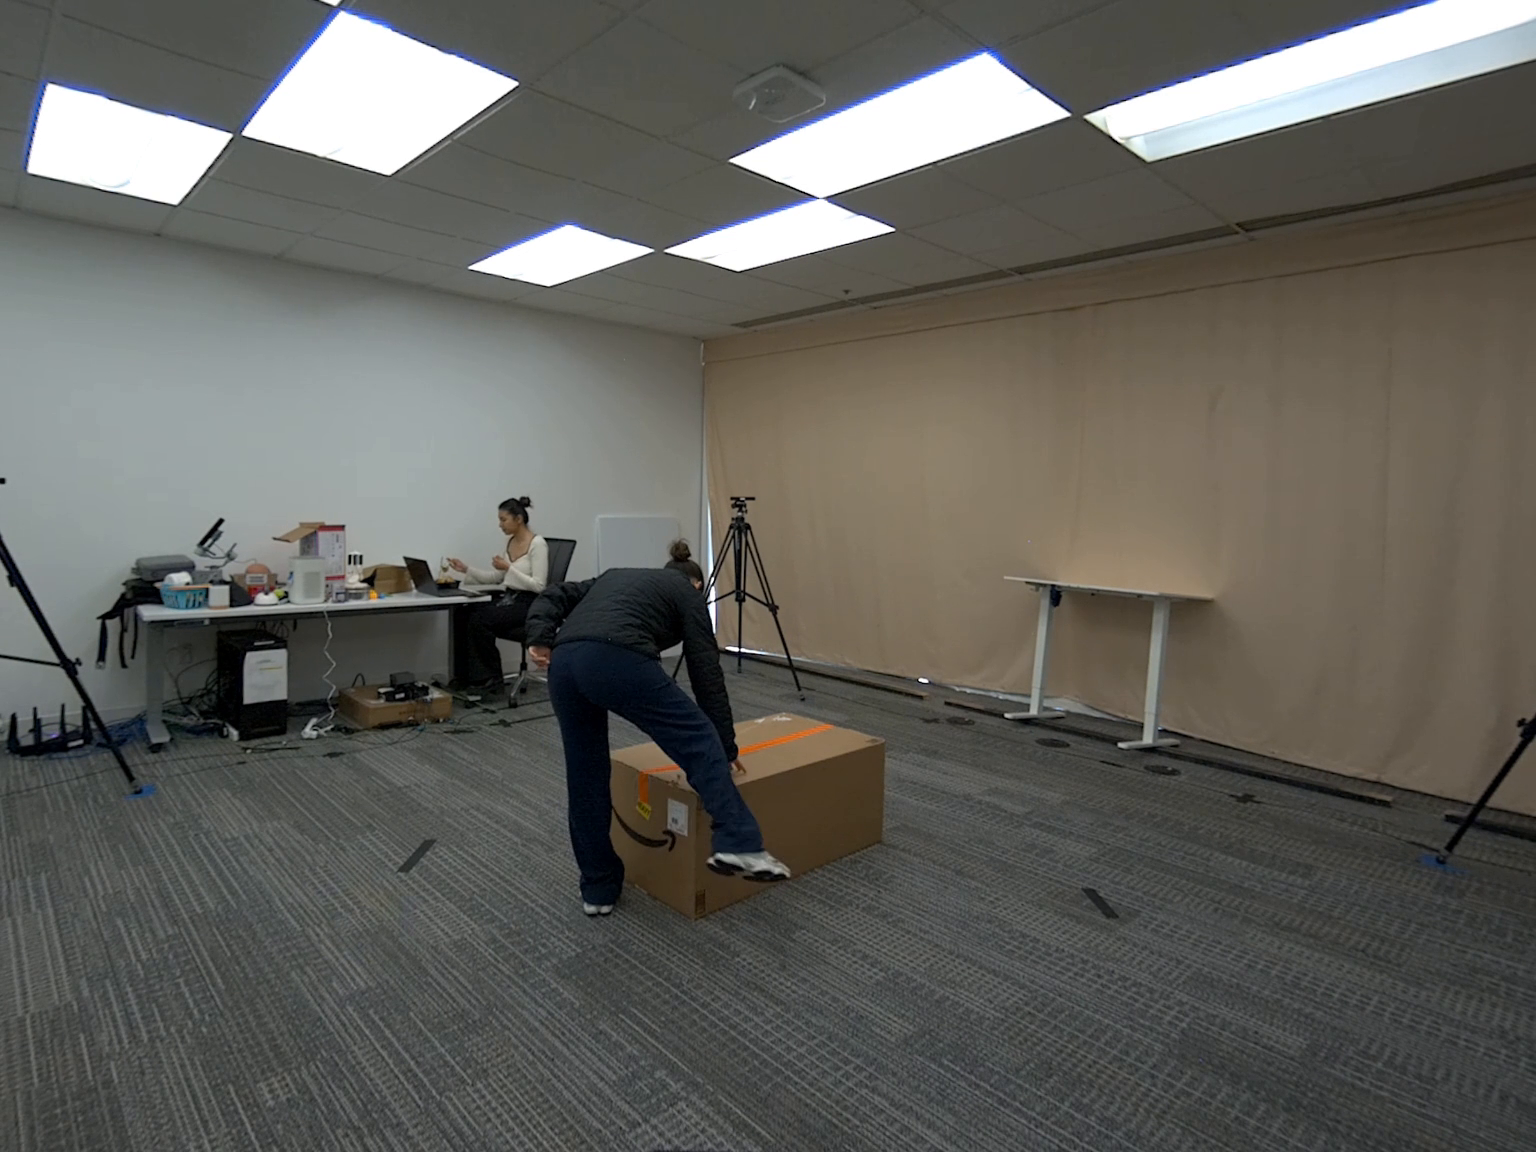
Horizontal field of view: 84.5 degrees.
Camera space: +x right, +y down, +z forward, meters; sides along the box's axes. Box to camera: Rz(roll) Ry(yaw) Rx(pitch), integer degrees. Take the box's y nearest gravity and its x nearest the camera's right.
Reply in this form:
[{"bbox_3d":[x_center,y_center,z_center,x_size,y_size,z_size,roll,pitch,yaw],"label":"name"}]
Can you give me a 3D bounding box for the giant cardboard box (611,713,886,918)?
[{"bbox_3d":[-0.089,0.884,3.296,1.003,0.445,0.599,-2,7,-44],"label":"giant cardboard box"}]
